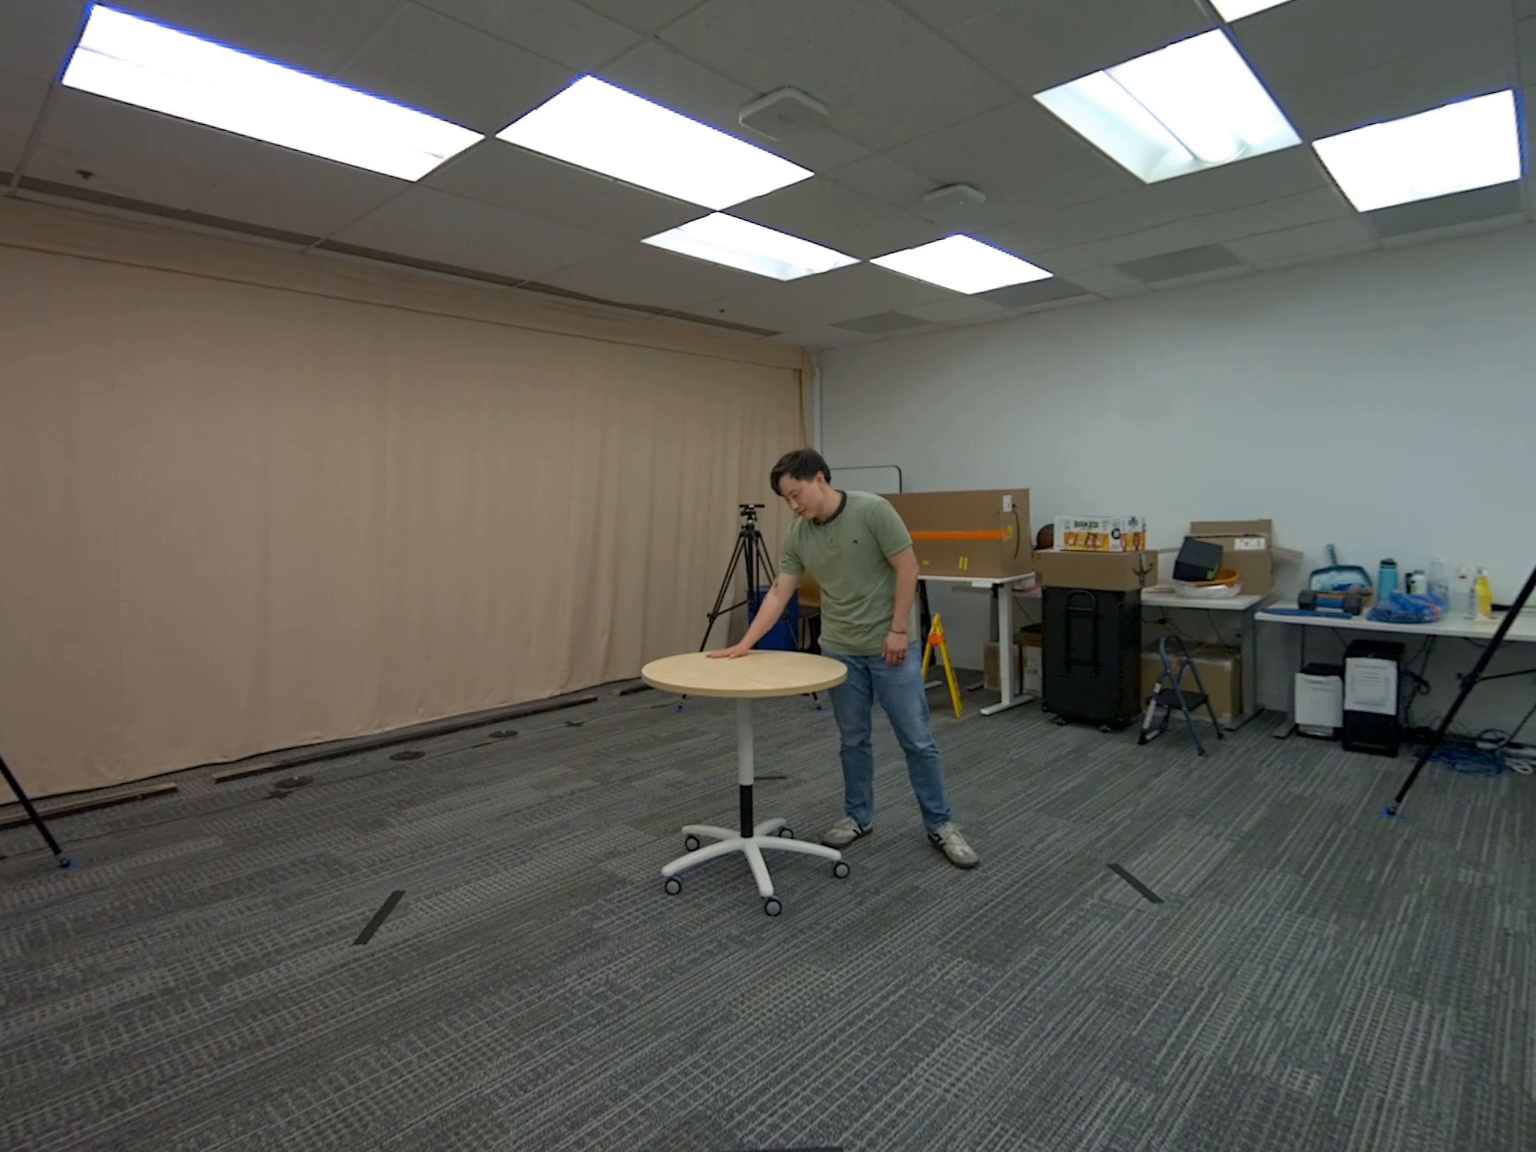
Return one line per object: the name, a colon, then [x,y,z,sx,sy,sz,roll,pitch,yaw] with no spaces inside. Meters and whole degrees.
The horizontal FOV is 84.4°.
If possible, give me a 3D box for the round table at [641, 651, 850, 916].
round table: [-0.082,0.736,3.169,0.763,0.792,0.766,-1,4,-2]
